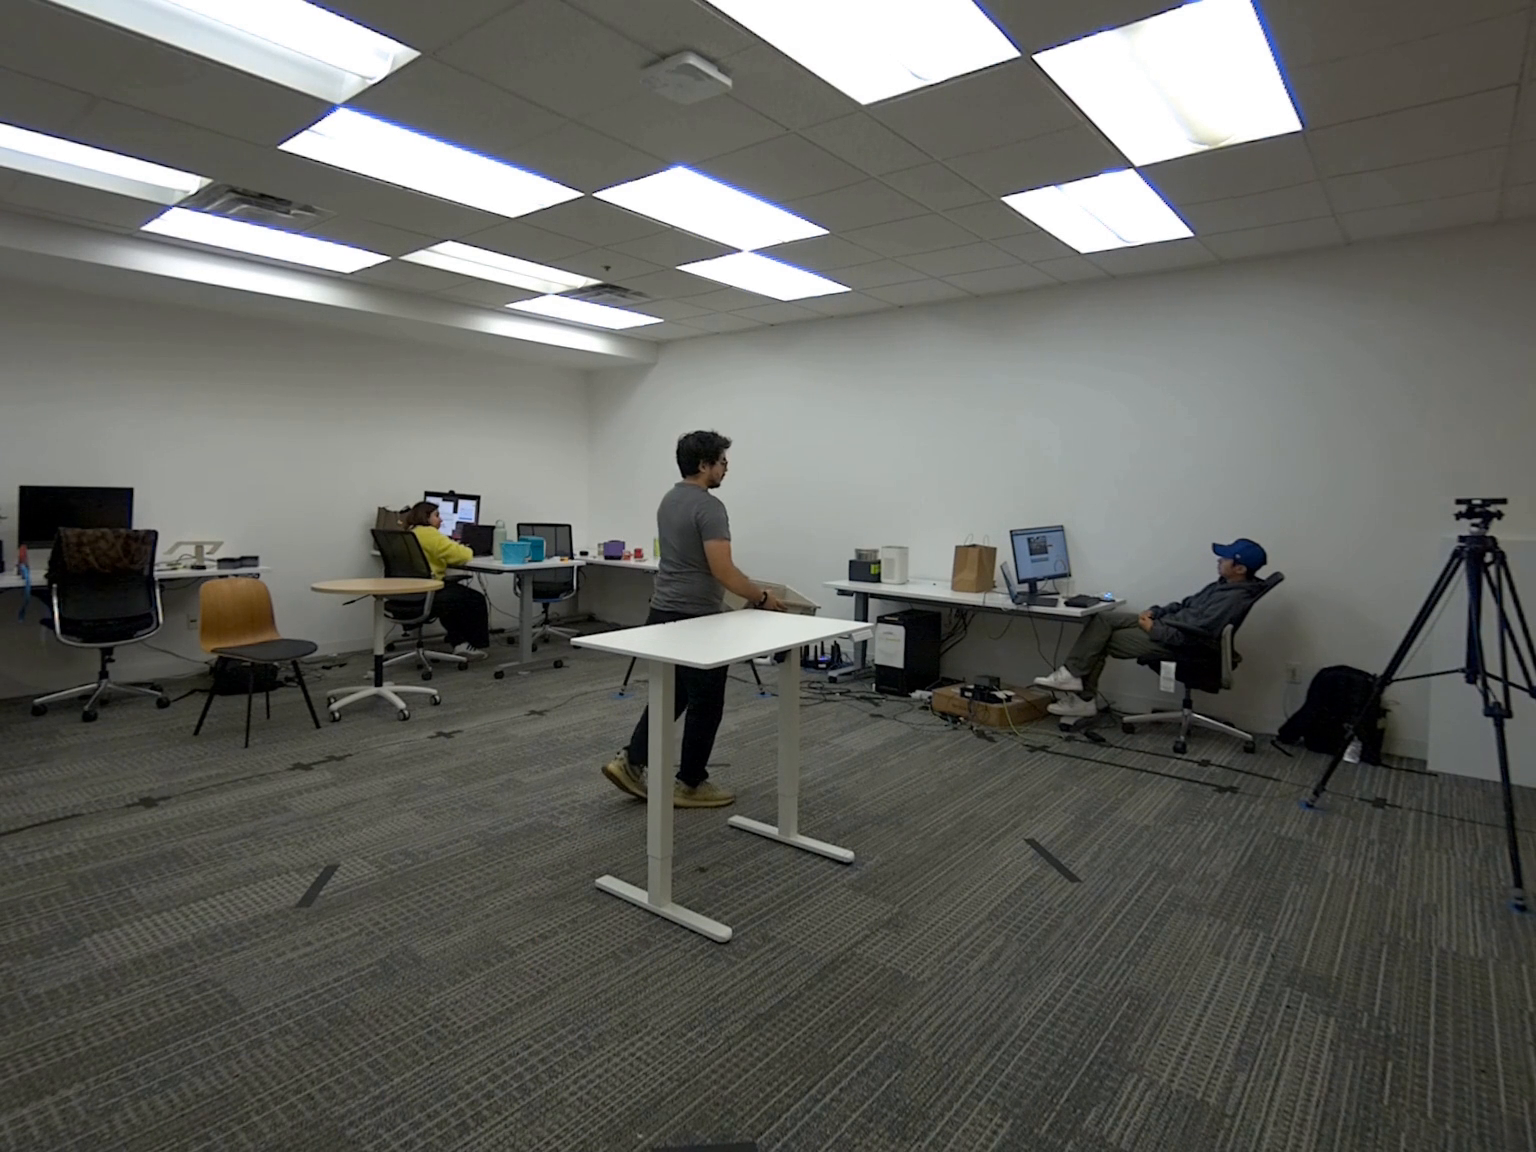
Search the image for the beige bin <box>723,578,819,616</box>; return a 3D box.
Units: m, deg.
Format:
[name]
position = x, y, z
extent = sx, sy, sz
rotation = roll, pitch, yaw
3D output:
[beige bin]
position = -0.032, 0.145, 3.944
extent = 0.369, 0.188, 0.434
rotation = 10, 7, -20
